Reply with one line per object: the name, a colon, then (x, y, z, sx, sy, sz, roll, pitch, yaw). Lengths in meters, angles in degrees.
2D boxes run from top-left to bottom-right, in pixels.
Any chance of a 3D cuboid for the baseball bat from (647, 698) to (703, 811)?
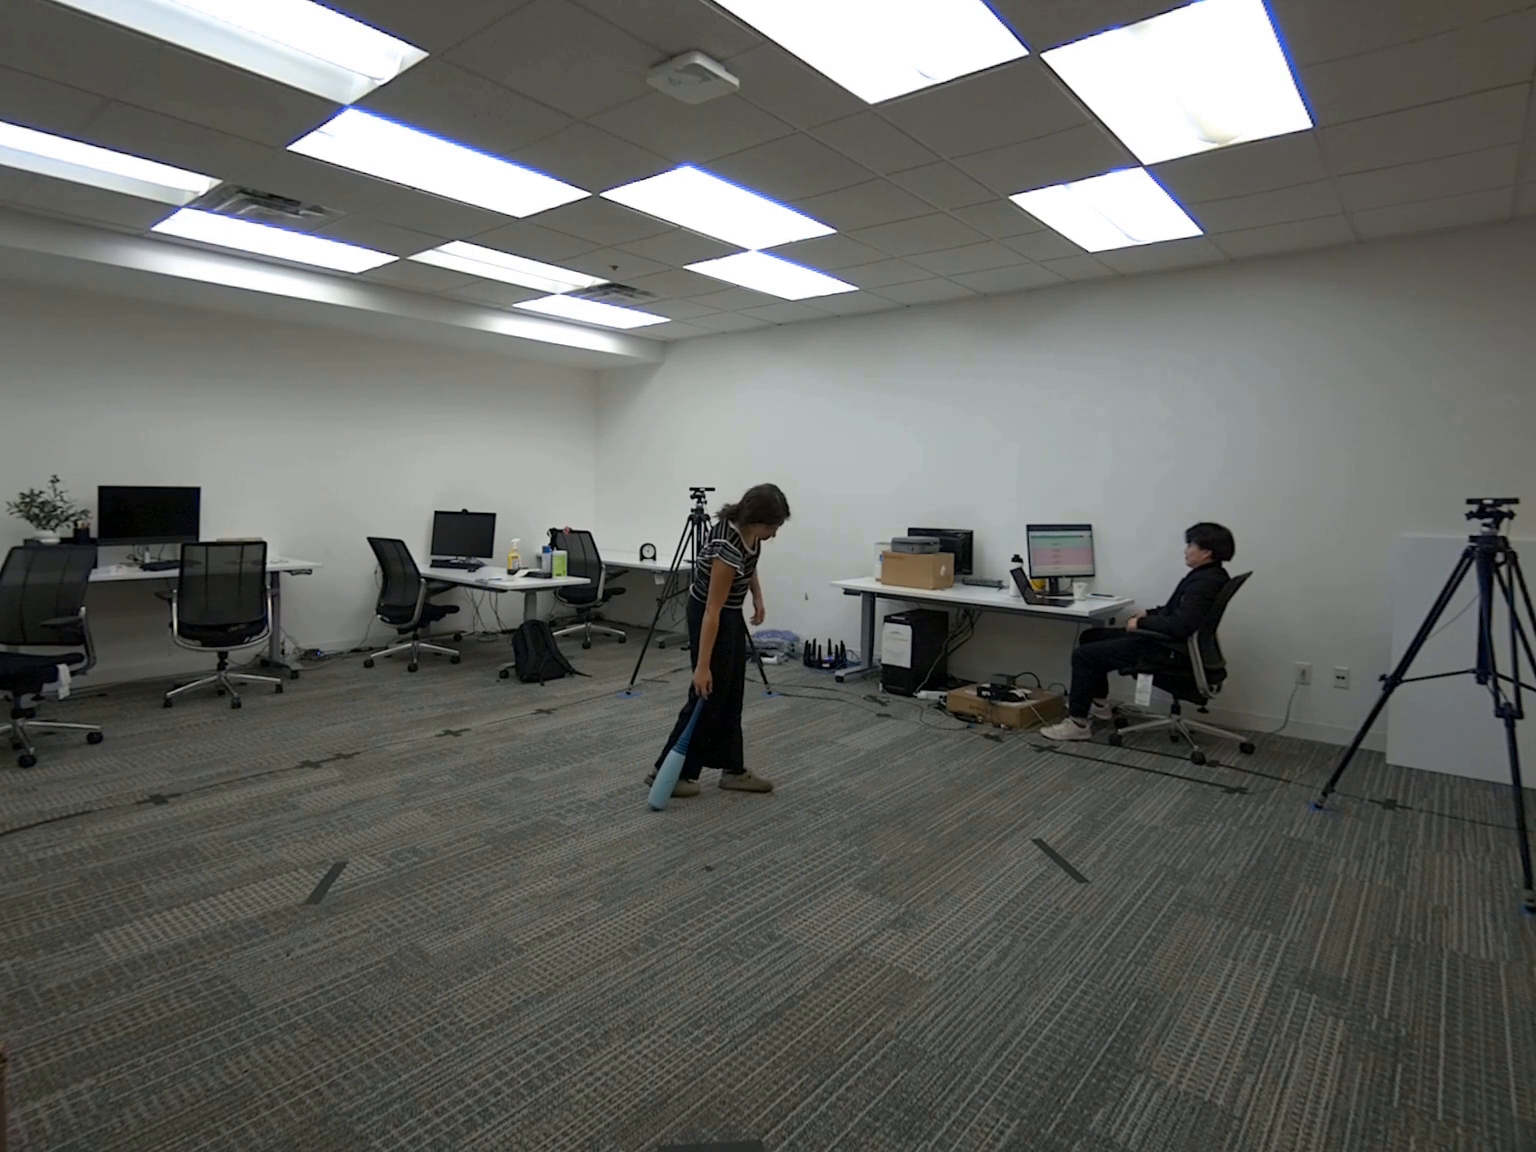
baseball bat: (-0.398, 0.753, 3.722, 0.089, 0.545, 0.088, 23, -9, 1)
